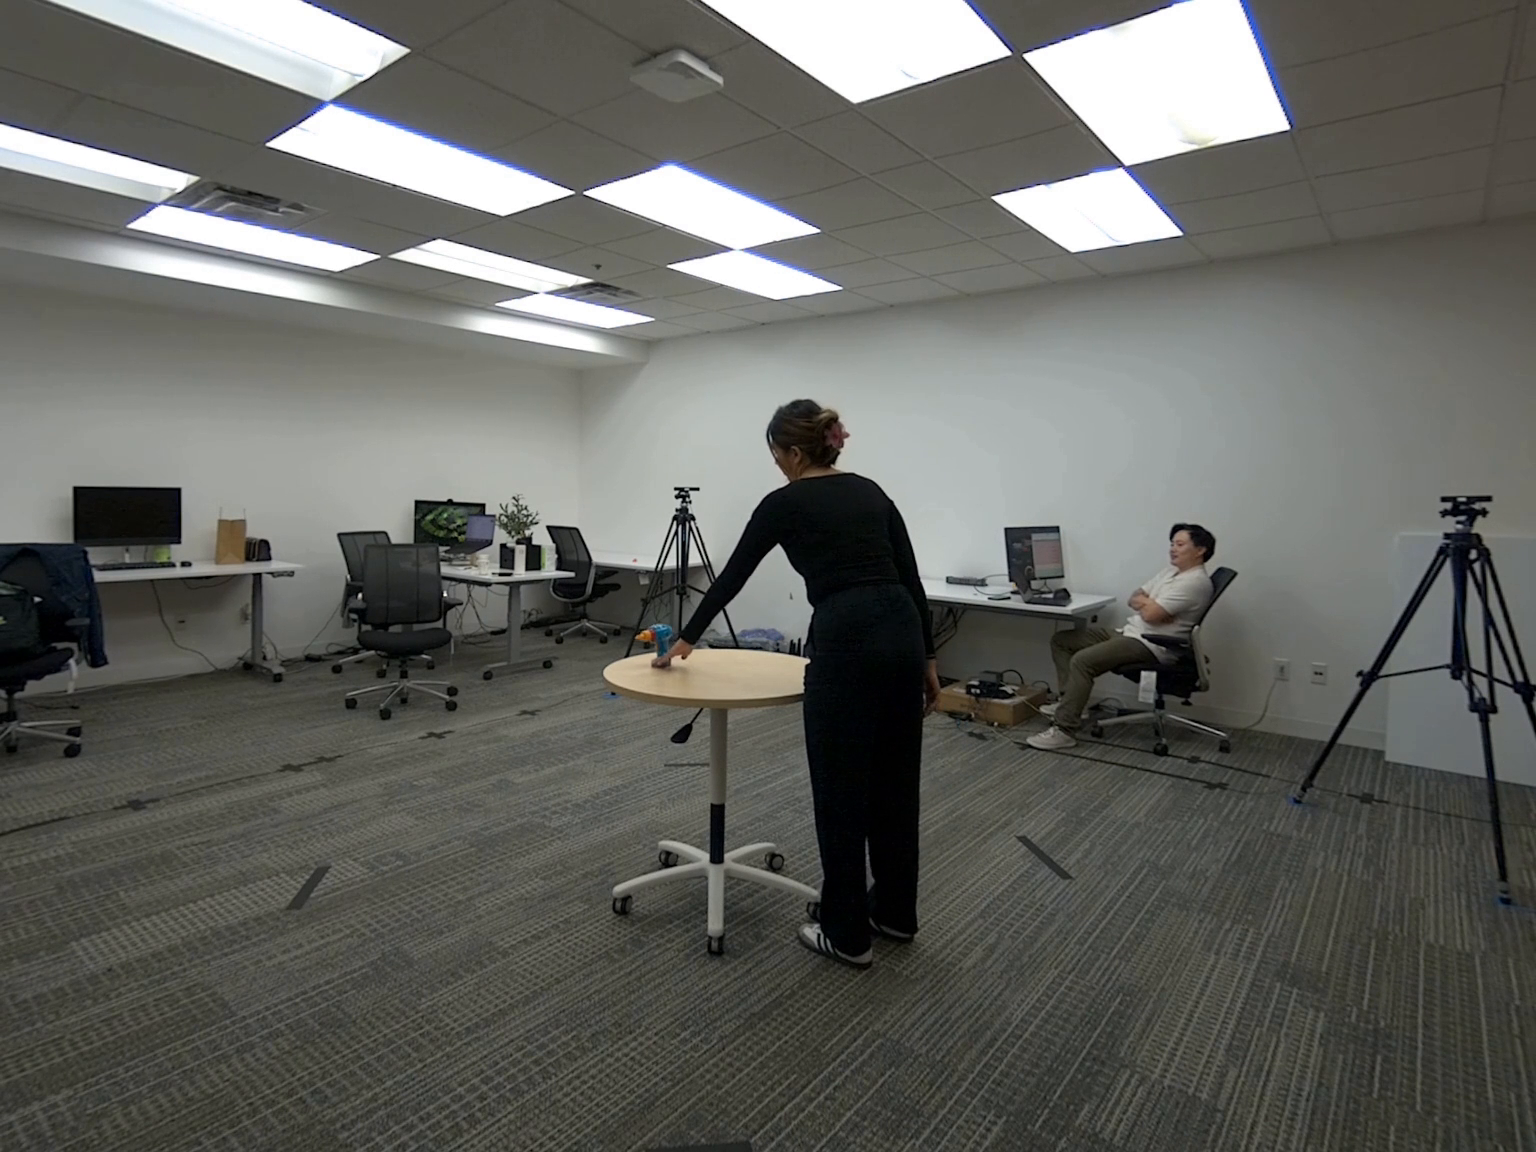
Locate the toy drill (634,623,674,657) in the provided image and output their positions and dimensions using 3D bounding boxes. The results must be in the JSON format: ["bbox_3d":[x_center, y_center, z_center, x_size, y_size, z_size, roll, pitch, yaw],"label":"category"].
[{"bbox_3d":[-0.385,0.237,2.843,0.063,0.145,0.166,1,5,30],"label":"toy drill"}]
